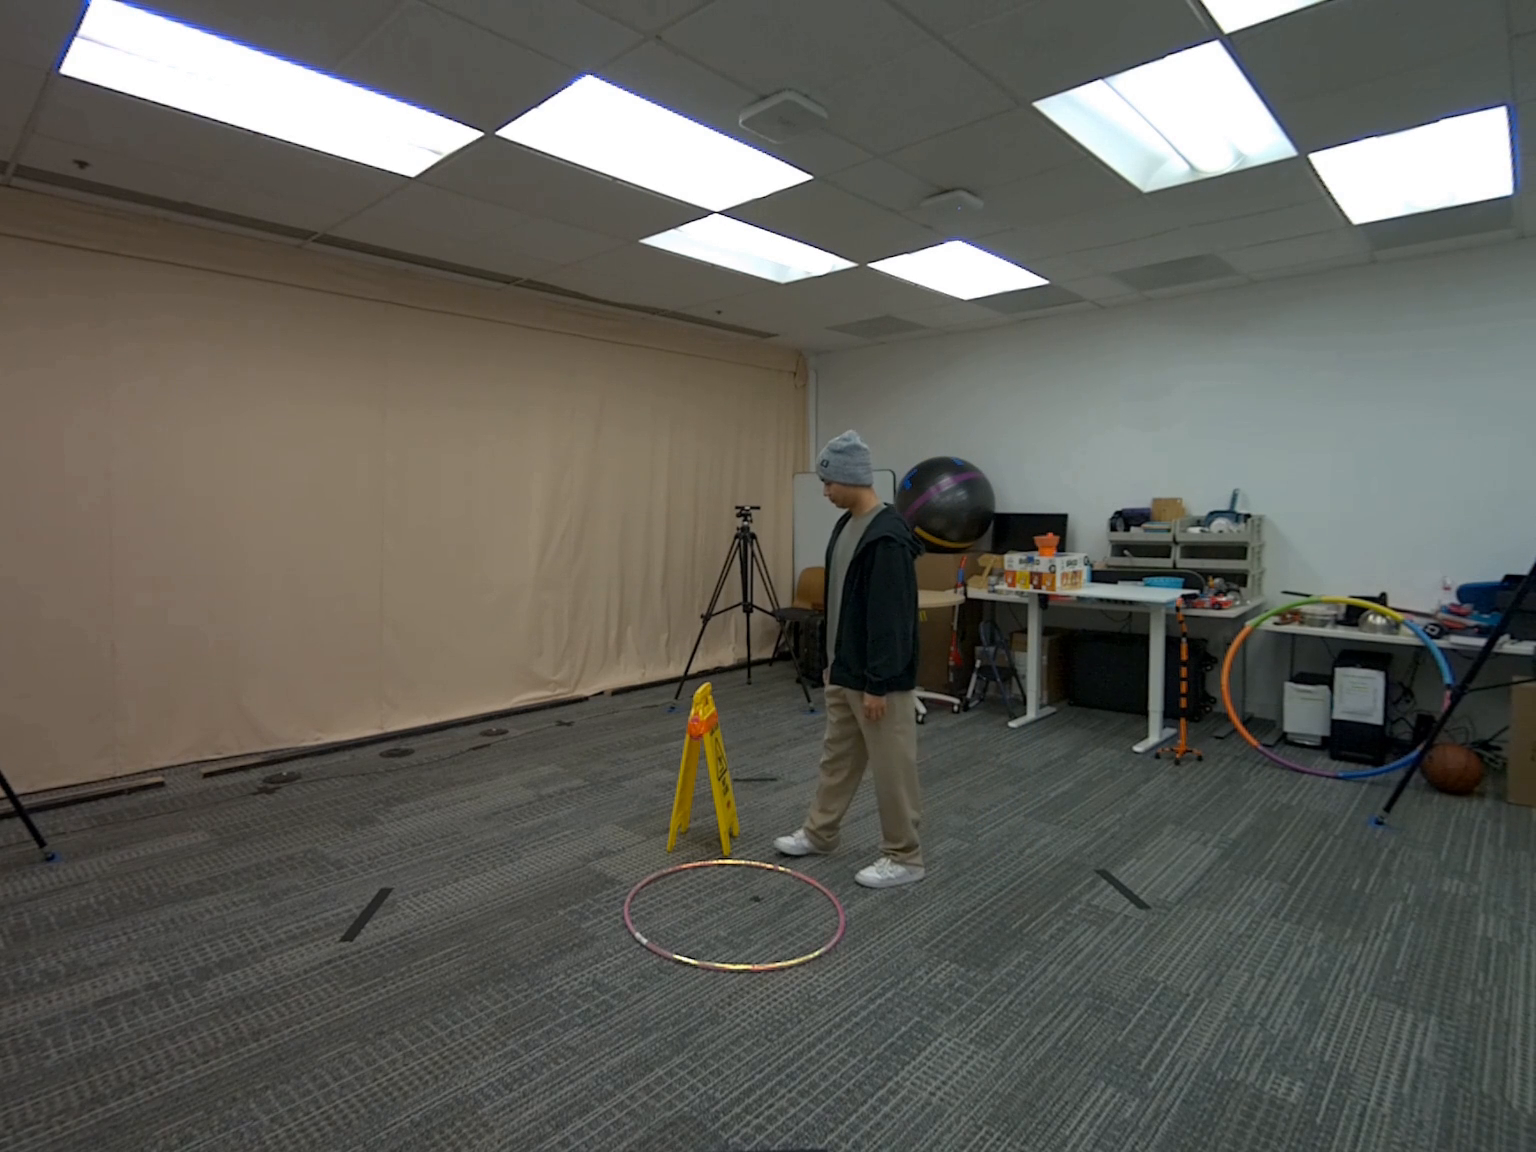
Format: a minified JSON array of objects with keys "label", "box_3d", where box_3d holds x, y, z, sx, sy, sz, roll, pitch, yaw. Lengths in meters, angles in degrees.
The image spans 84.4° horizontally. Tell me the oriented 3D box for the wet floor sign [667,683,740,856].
[{"label":"wet floor sign","box_3d":[-0.264,0.783,3.479,0.293,0.644,0.280,0,4,10]}]
